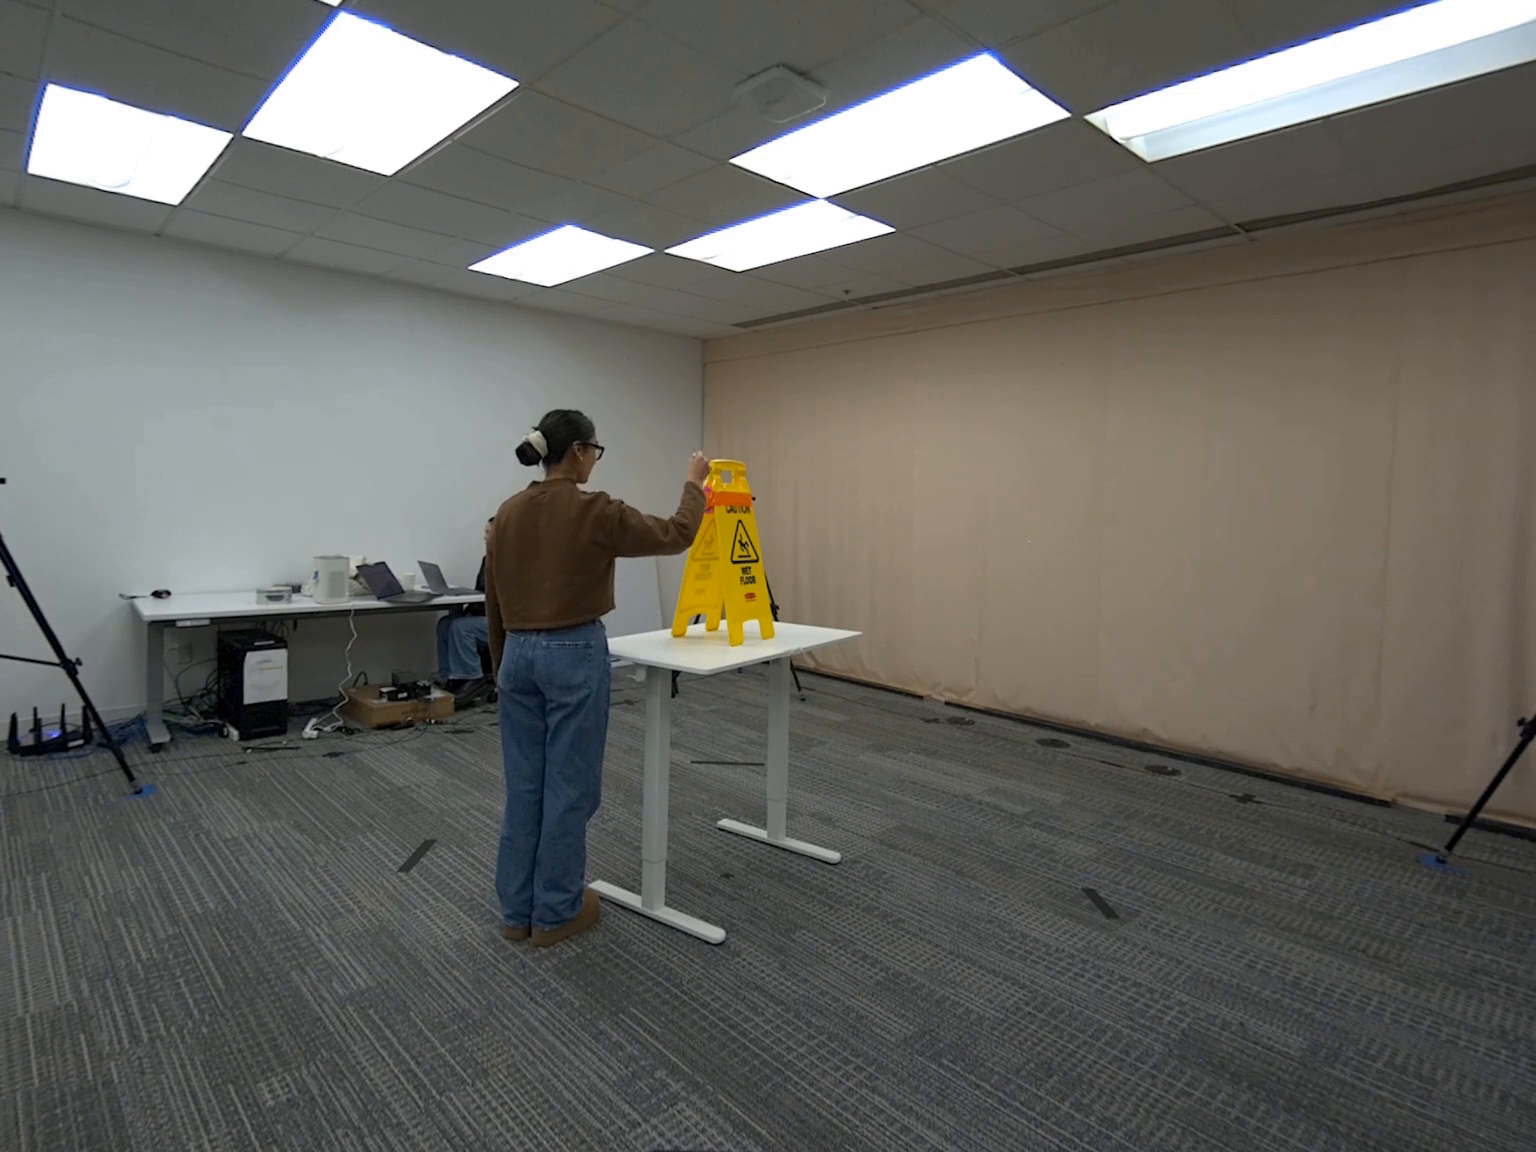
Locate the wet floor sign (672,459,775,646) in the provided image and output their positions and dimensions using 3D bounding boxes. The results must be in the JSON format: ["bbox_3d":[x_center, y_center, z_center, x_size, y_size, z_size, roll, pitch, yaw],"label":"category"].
[{"bbox_3d":[-0.159,-0.094,3.074,0.296,0.644,0.276,4,4,34],"label":"wet floor sign"}]
